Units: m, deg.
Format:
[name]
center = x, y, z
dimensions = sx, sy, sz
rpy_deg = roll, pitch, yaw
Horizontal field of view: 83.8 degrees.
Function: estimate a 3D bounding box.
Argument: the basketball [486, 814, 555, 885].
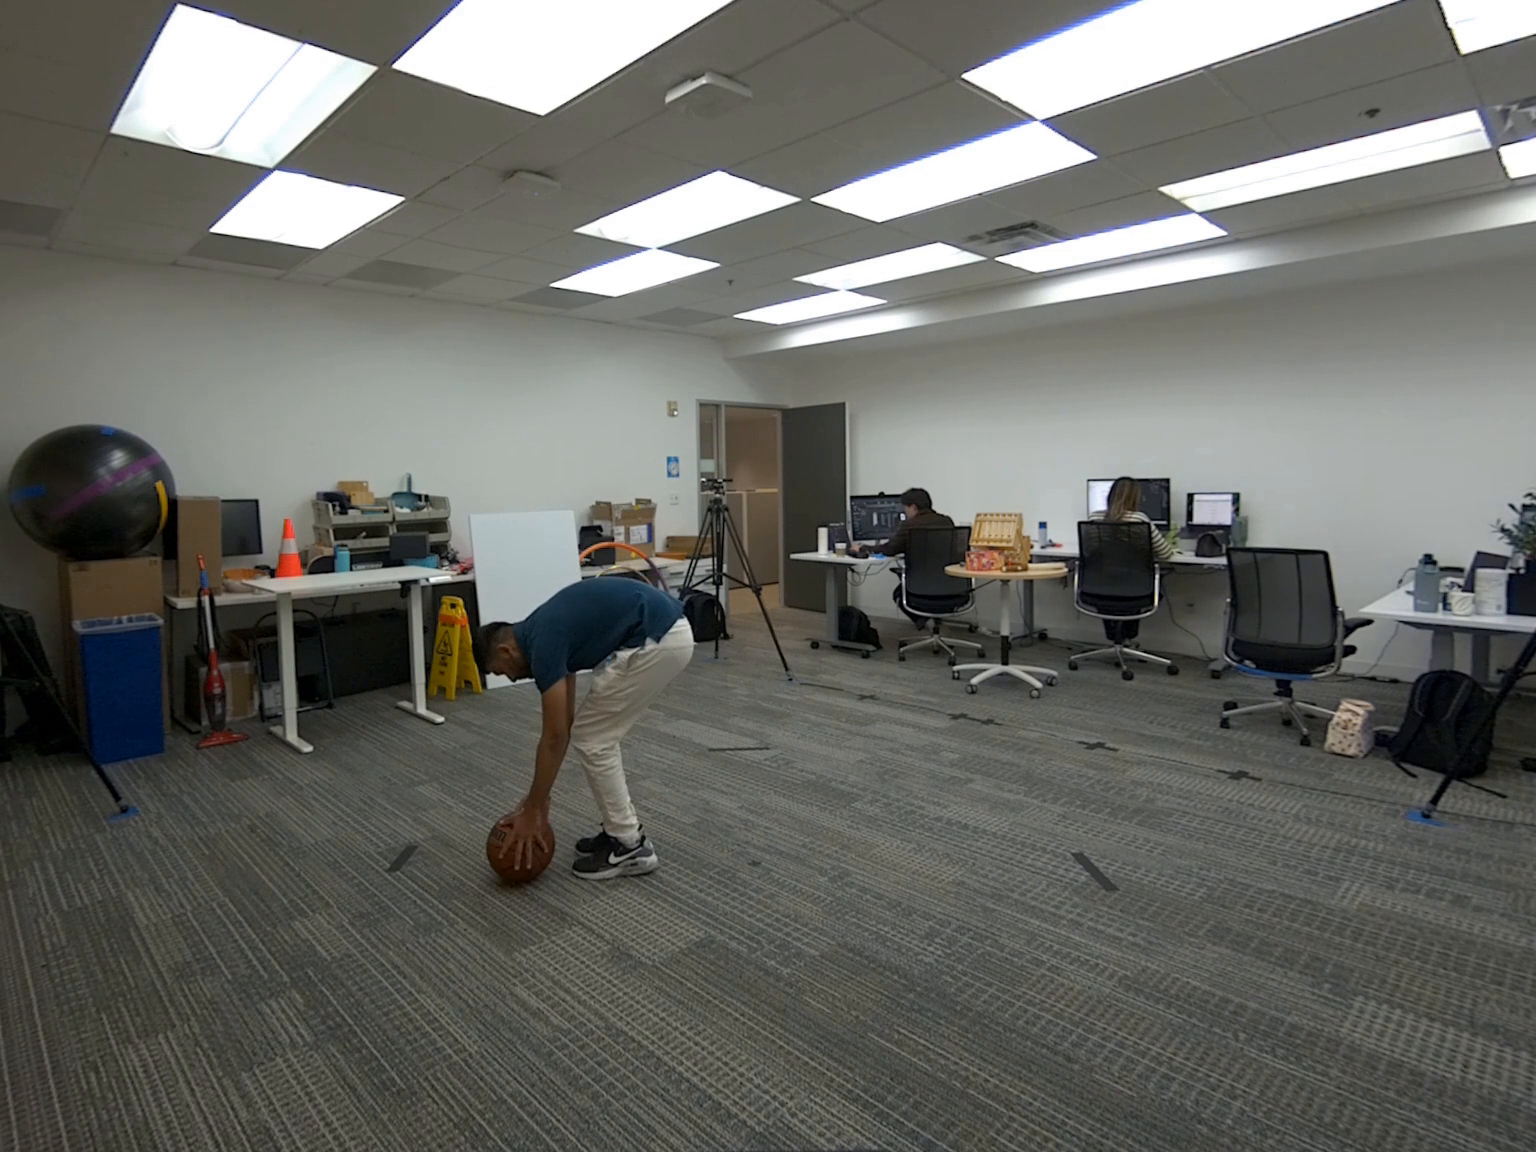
[basketball]
center = -0.874, 0.938, 3.019
dimensions = 0.236, 0.235, 0.237
rpy_deg = -1, 5, -2
